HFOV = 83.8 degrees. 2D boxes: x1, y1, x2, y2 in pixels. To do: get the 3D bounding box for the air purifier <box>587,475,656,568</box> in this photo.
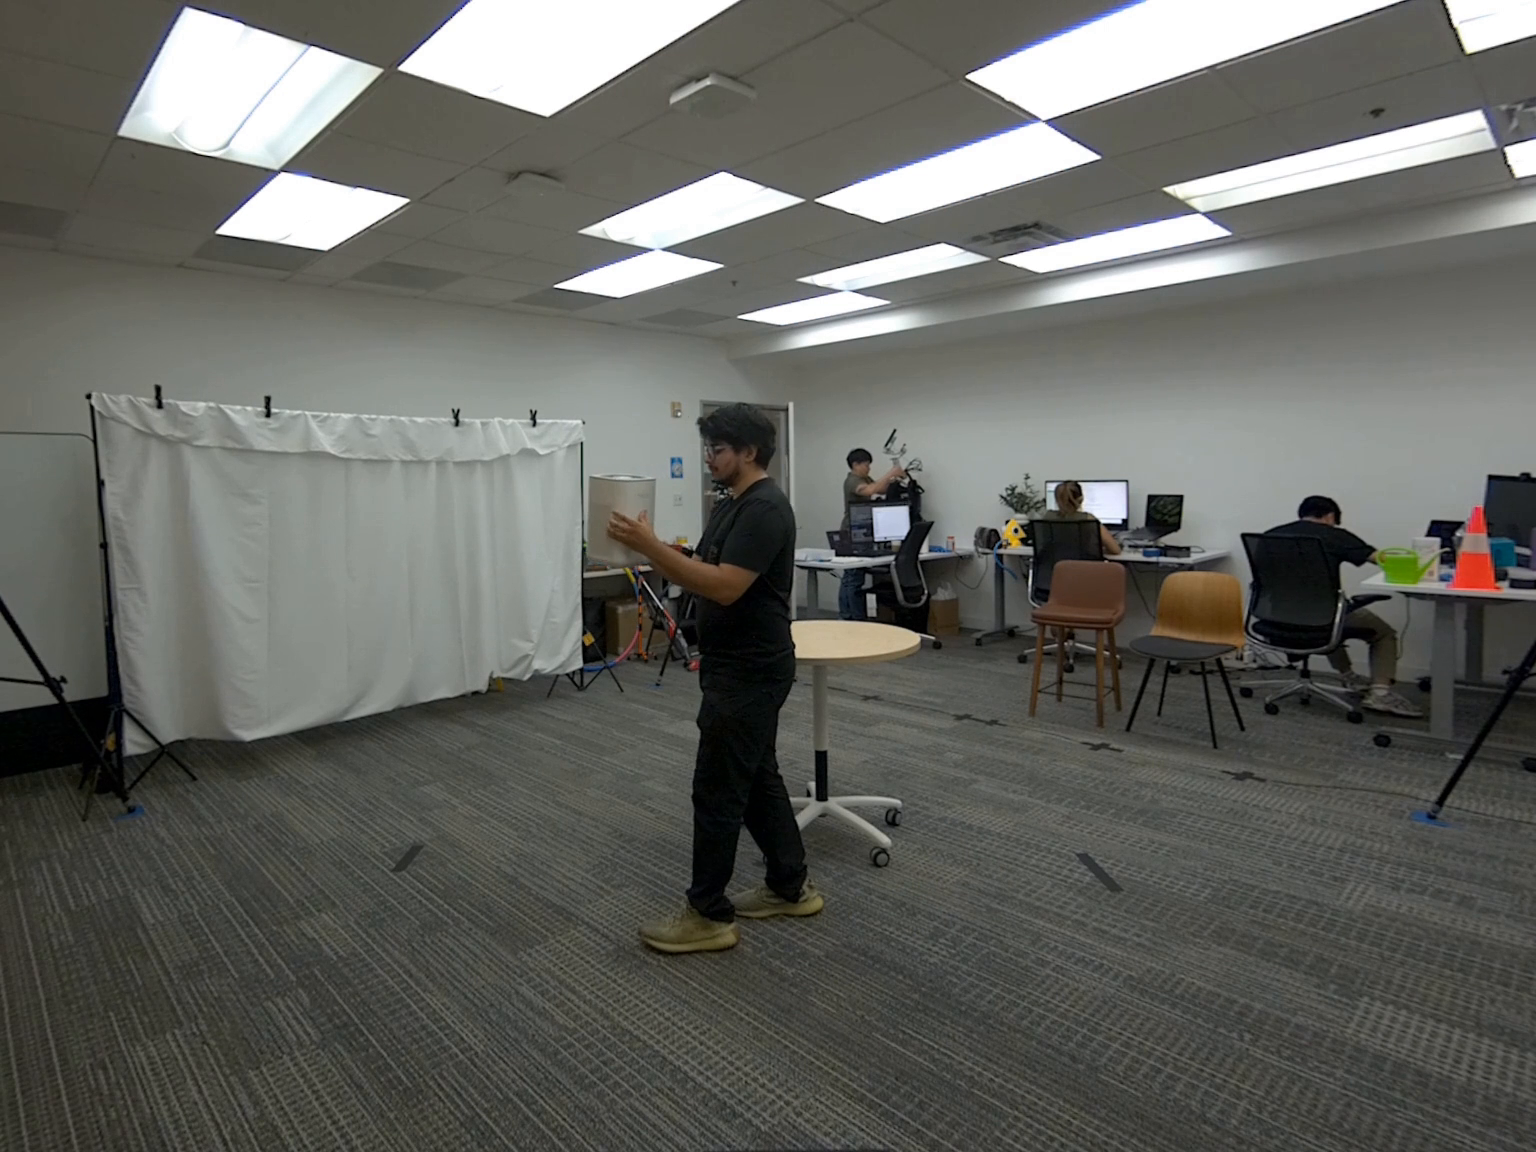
[{"bbox_3d":[-0.432,-0.170,2.565,0.177,0.263,0.167,11,12,32],"label":"air purifier"}]
